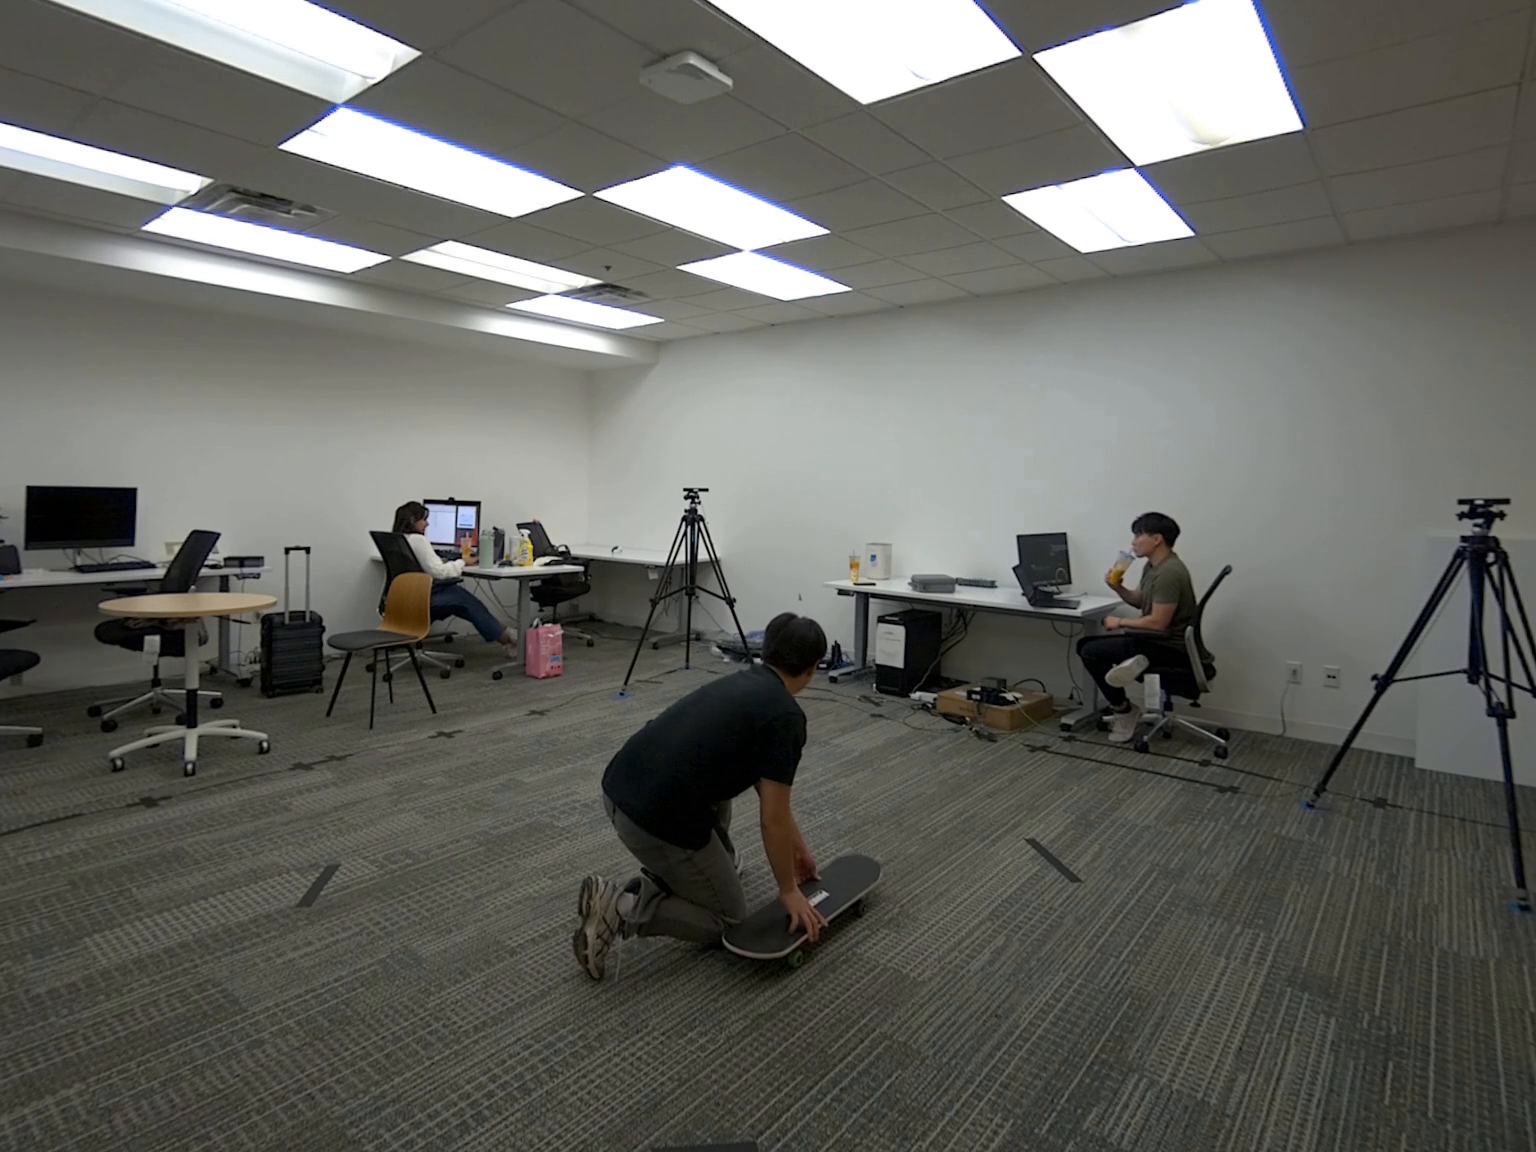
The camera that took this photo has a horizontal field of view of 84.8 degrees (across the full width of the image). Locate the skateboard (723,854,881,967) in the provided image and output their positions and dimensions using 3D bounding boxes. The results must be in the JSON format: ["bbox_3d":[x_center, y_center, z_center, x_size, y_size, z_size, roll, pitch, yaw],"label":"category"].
[{"bbox_3d":[0.119,1.060,2.699,0.200,0.110,0.763,8,8,35],"label":"skateboard"}]
